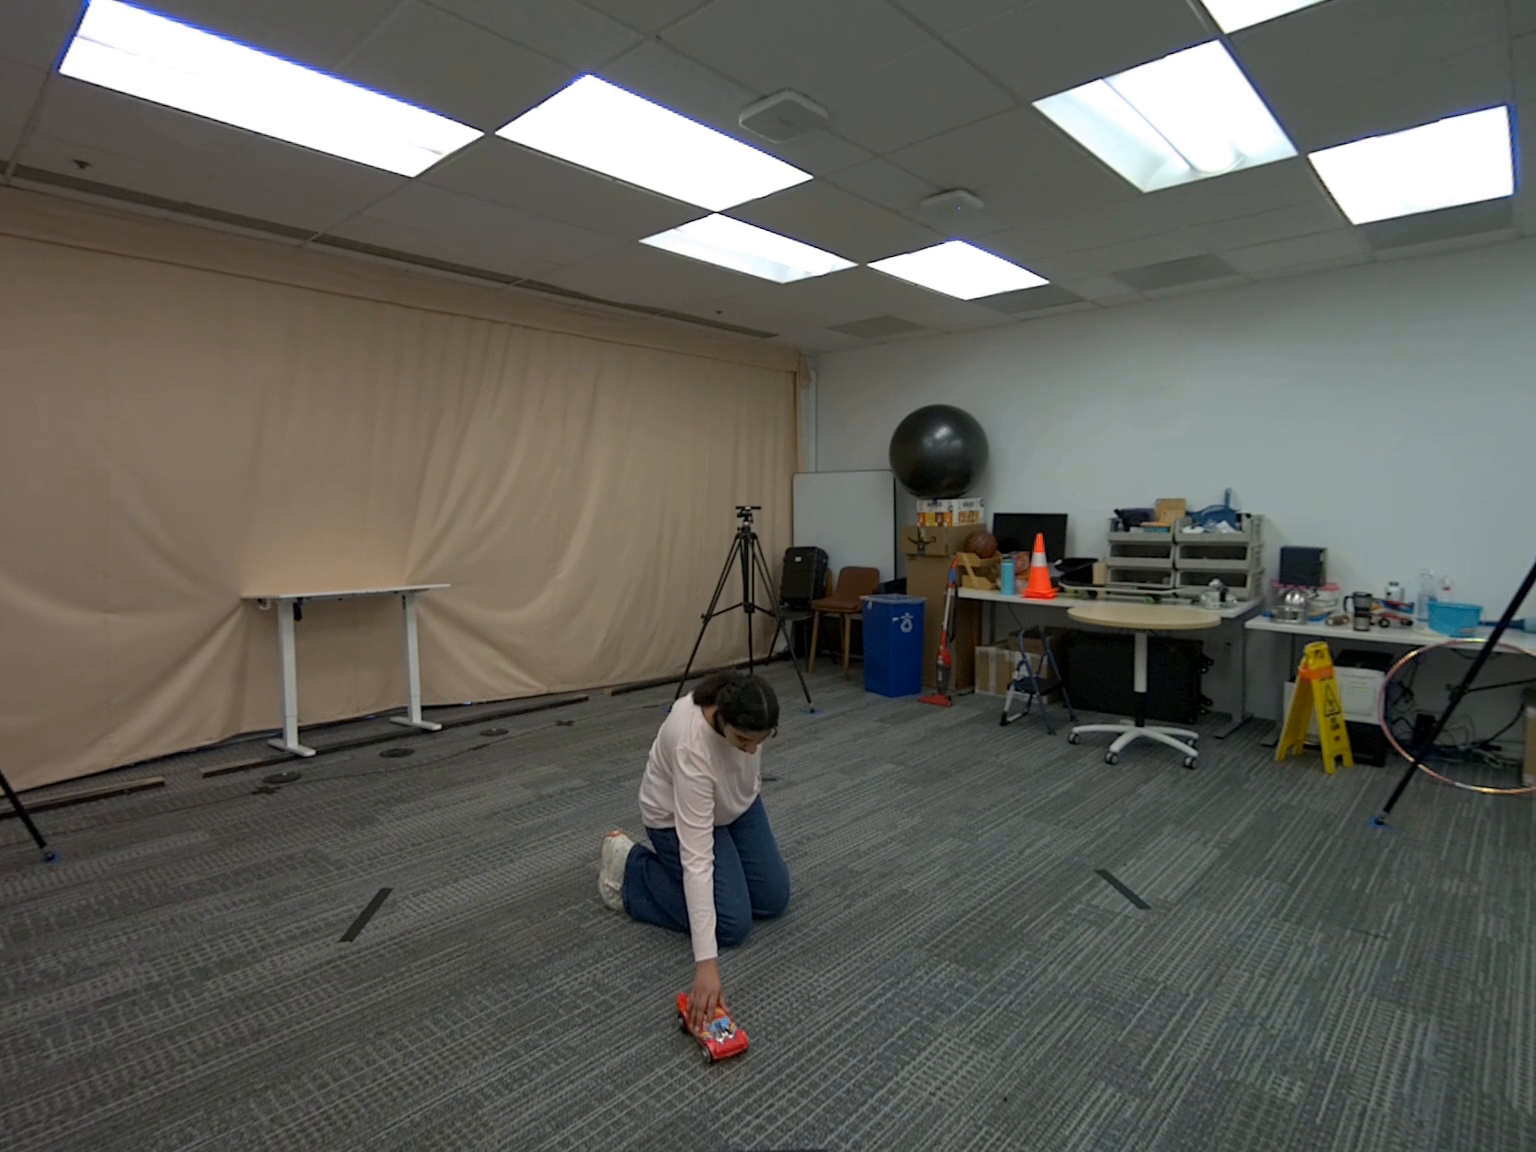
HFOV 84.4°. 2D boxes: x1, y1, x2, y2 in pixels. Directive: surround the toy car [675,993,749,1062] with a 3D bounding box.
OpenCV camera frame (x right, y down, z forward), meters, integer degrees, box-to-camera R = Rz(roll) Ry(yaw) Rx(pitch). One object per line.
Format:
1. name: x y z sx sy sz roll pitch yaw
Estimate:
1. toy car: -0.158 1.170 2.215 0.127 0.082 0.263 -4 16 -29
